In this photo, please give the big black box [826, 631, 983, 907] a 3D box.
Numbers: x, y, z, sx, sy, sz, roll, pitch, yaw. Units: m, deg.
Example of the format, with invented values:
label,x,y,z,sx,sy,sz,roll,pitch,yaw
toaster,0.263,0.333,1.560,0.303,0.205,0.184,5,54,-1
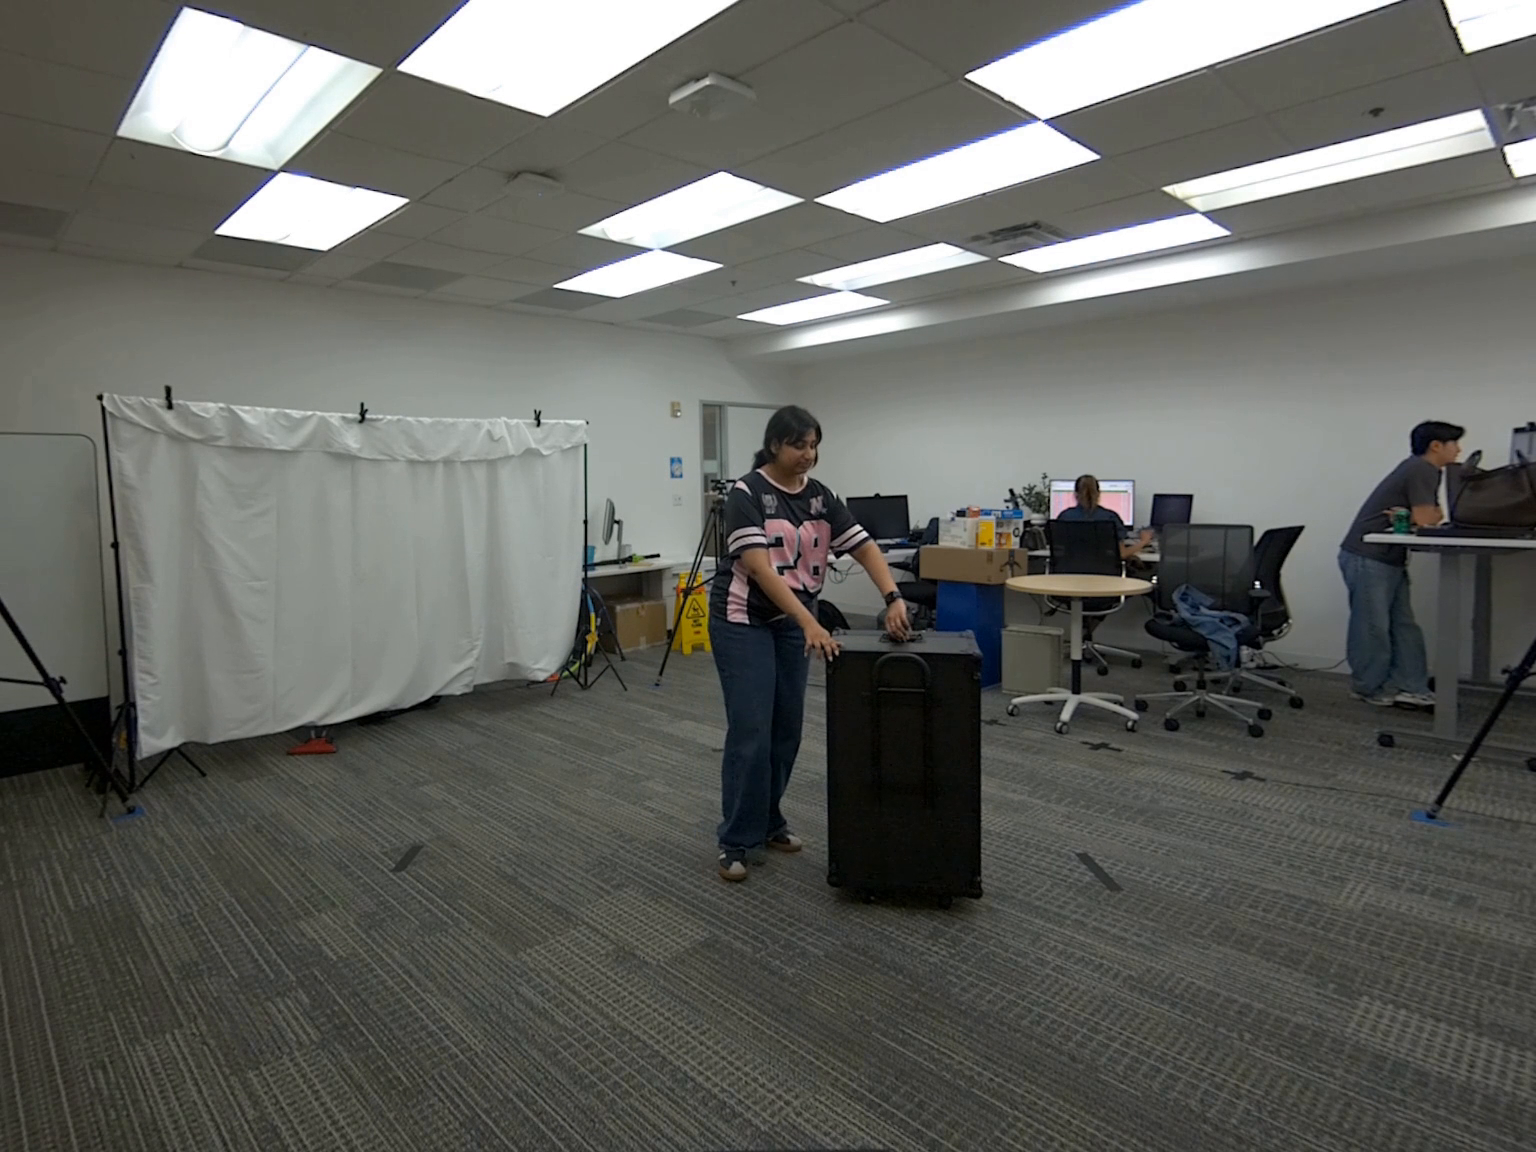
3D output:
label,x,y,z,sx,sy,sz,roll,pitch,yaw
big black box,0.459,0.641,2.873,0.529,0.865,0.383,-1,5,11
